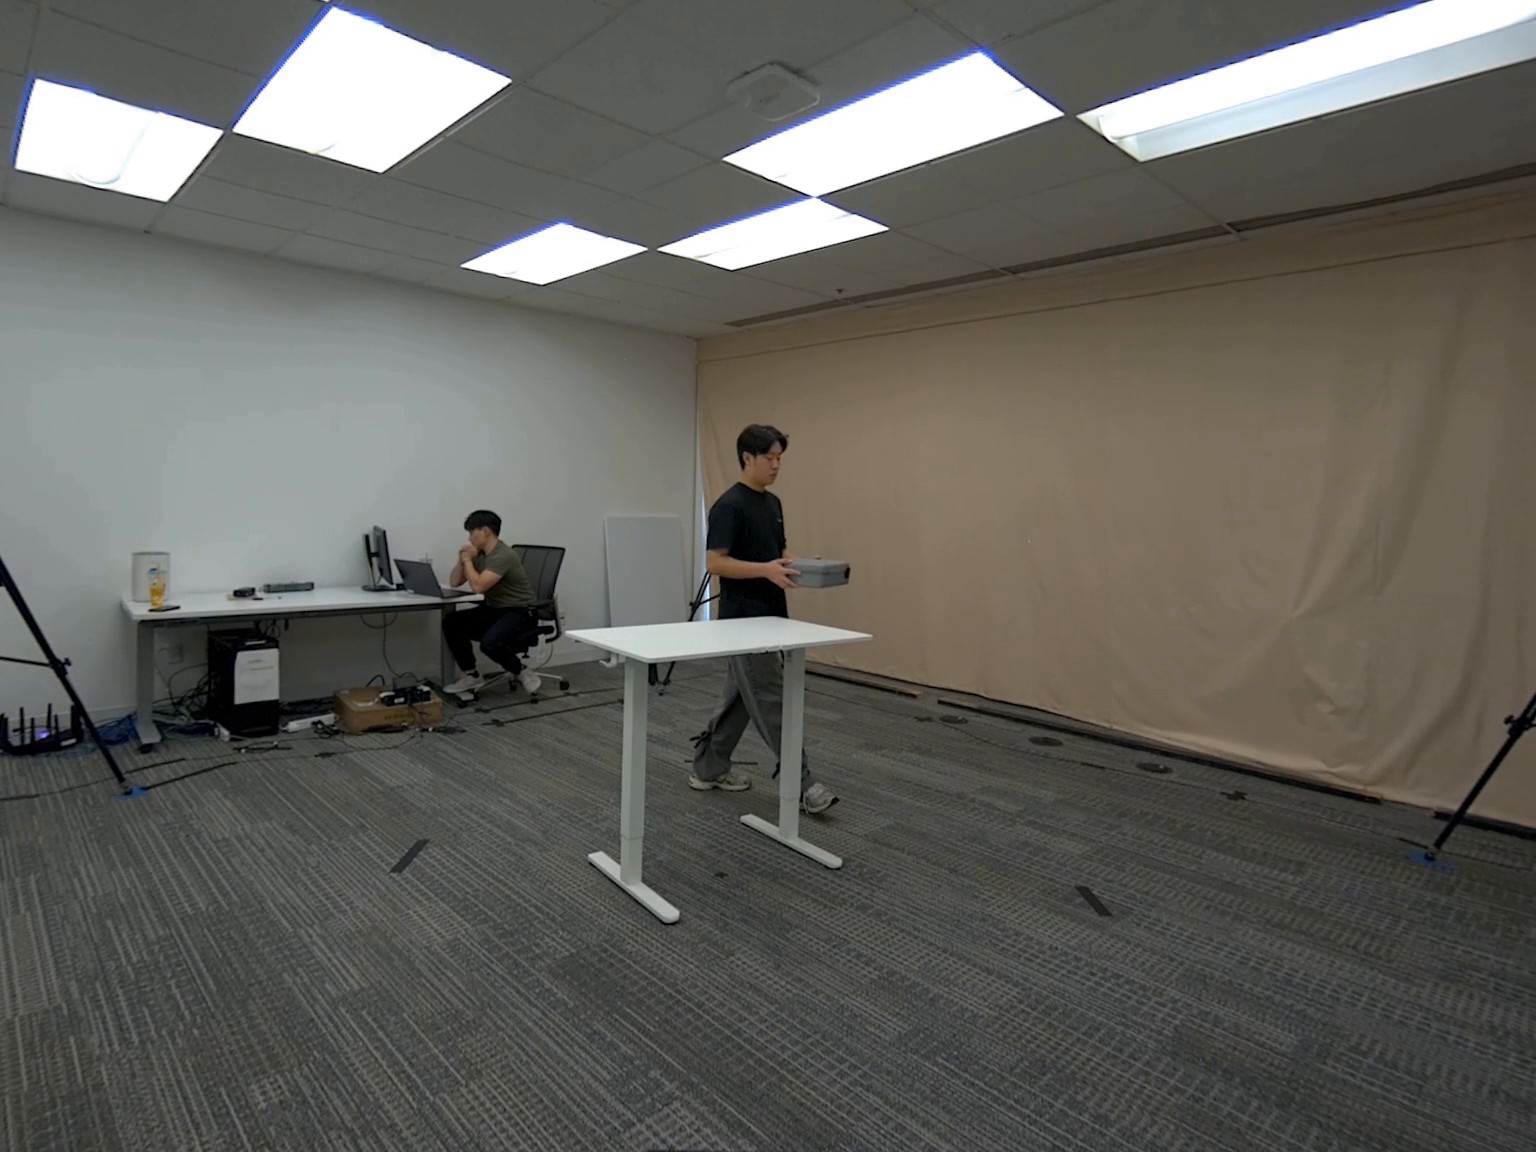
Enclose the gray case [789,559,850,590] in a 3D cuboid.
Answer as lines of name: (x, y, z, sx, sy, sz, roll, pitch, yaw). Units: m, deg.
gray case: (0.186, -0.014, 3.696, 0.294, 0.102, 0.258, 5, 7, 33)
